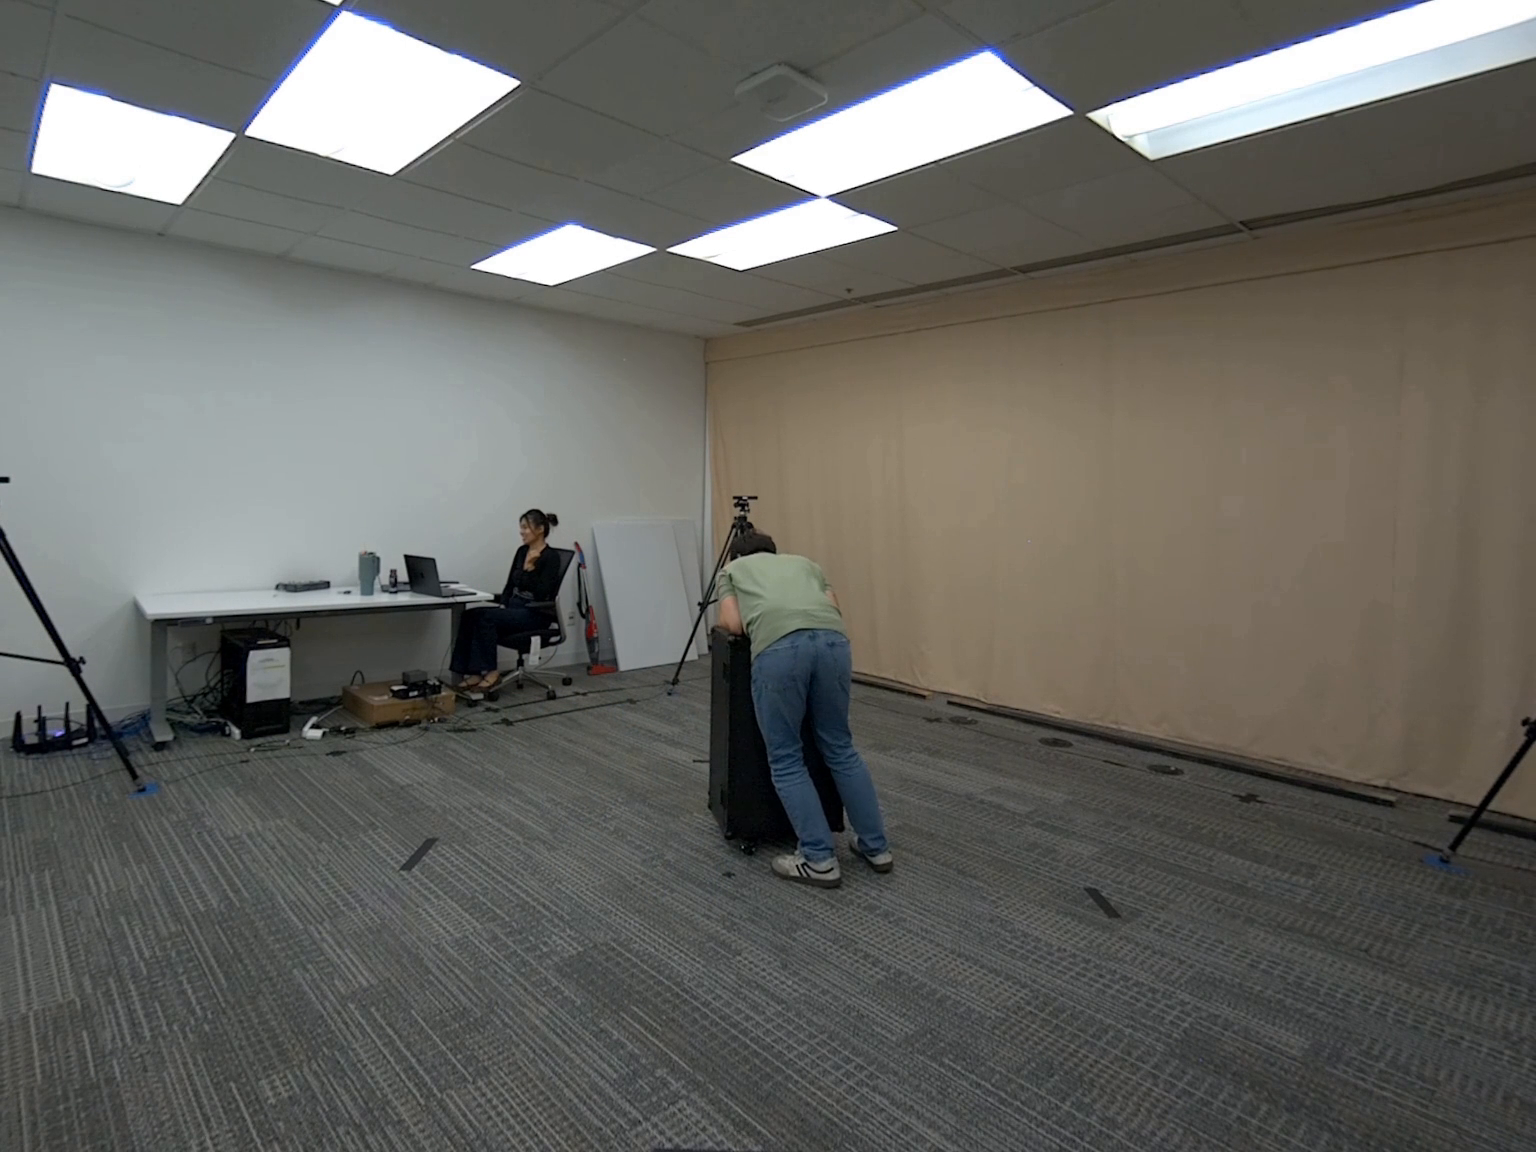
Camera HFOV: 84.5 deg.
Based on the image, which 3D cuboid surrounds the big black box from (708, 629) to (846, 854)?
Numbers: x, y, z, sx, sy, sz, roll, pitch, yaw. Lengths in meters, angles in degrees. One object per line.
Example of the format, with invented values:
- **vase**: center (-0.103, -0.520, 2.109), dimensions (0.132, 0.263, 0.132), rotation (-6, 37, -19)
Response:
- **big black box**: center (0.010, 0.648, 3.475), dimensions (0.516, 0.860, 0.400), rotation (0, 2, -12)
